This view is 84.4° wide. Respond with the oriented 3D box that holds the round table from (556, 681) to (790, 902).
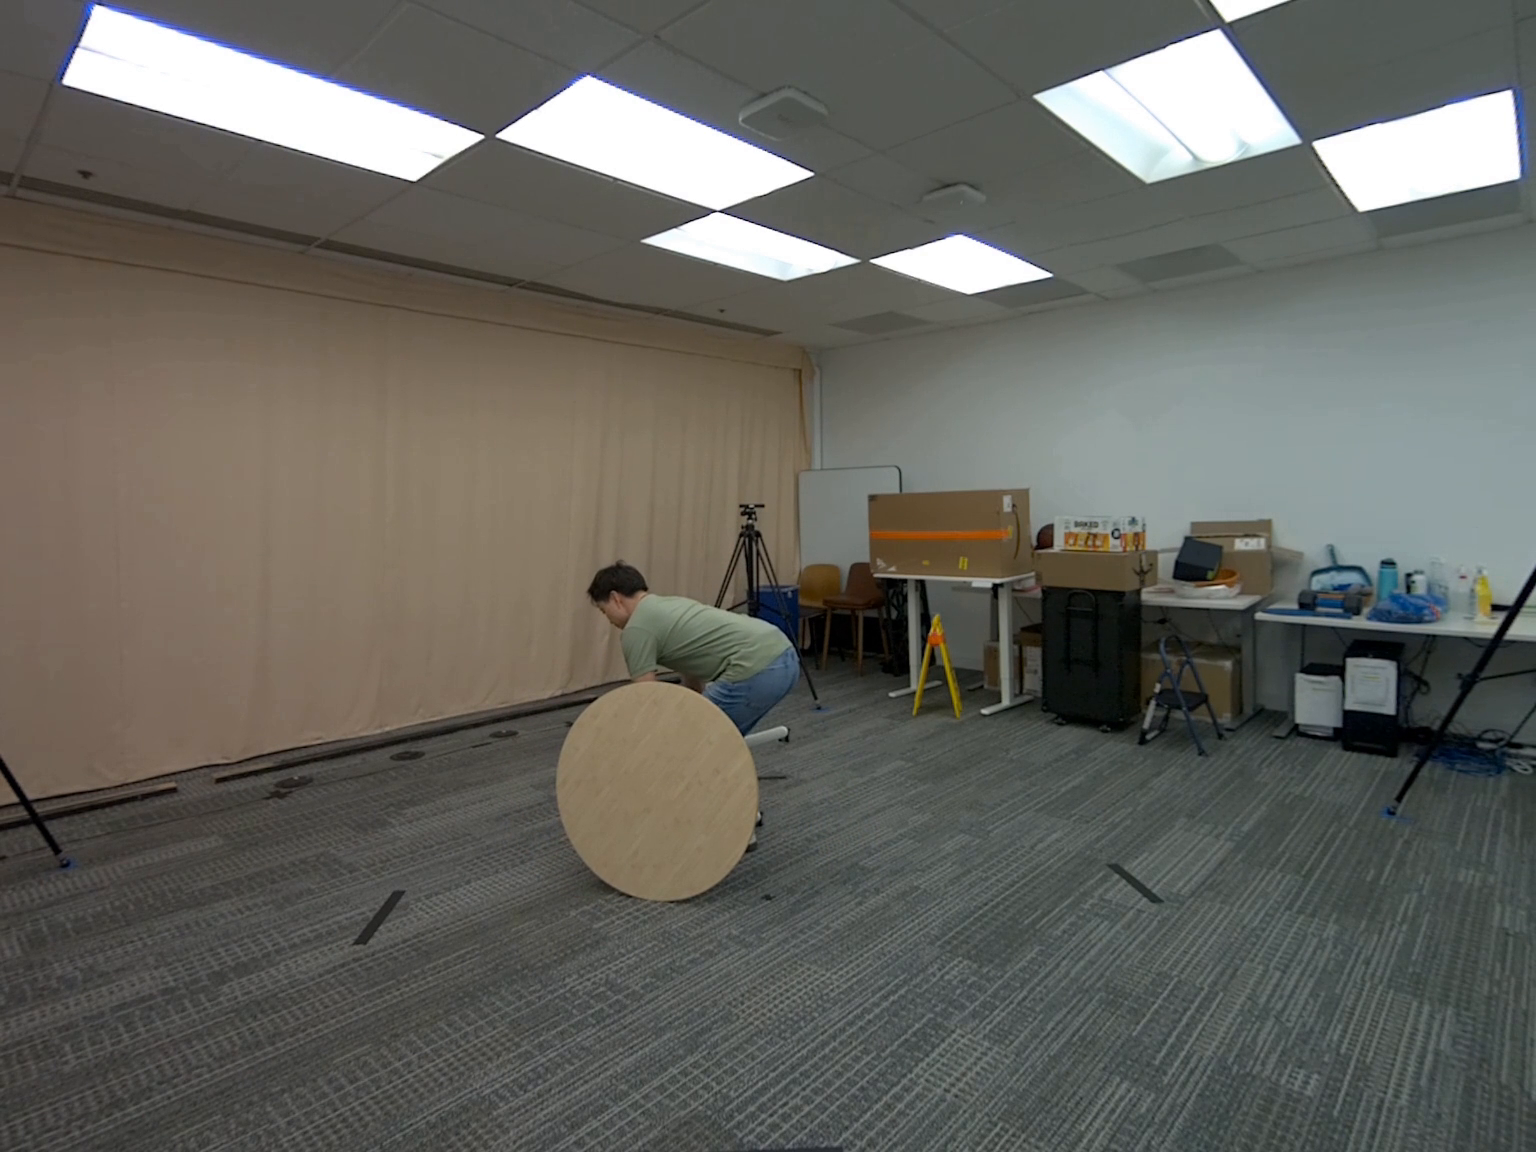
[{"bbox_3d":[-0.327,0.765,3.380,0.777,0.765,0.780,0,-2,15],"label":"round table"}]
